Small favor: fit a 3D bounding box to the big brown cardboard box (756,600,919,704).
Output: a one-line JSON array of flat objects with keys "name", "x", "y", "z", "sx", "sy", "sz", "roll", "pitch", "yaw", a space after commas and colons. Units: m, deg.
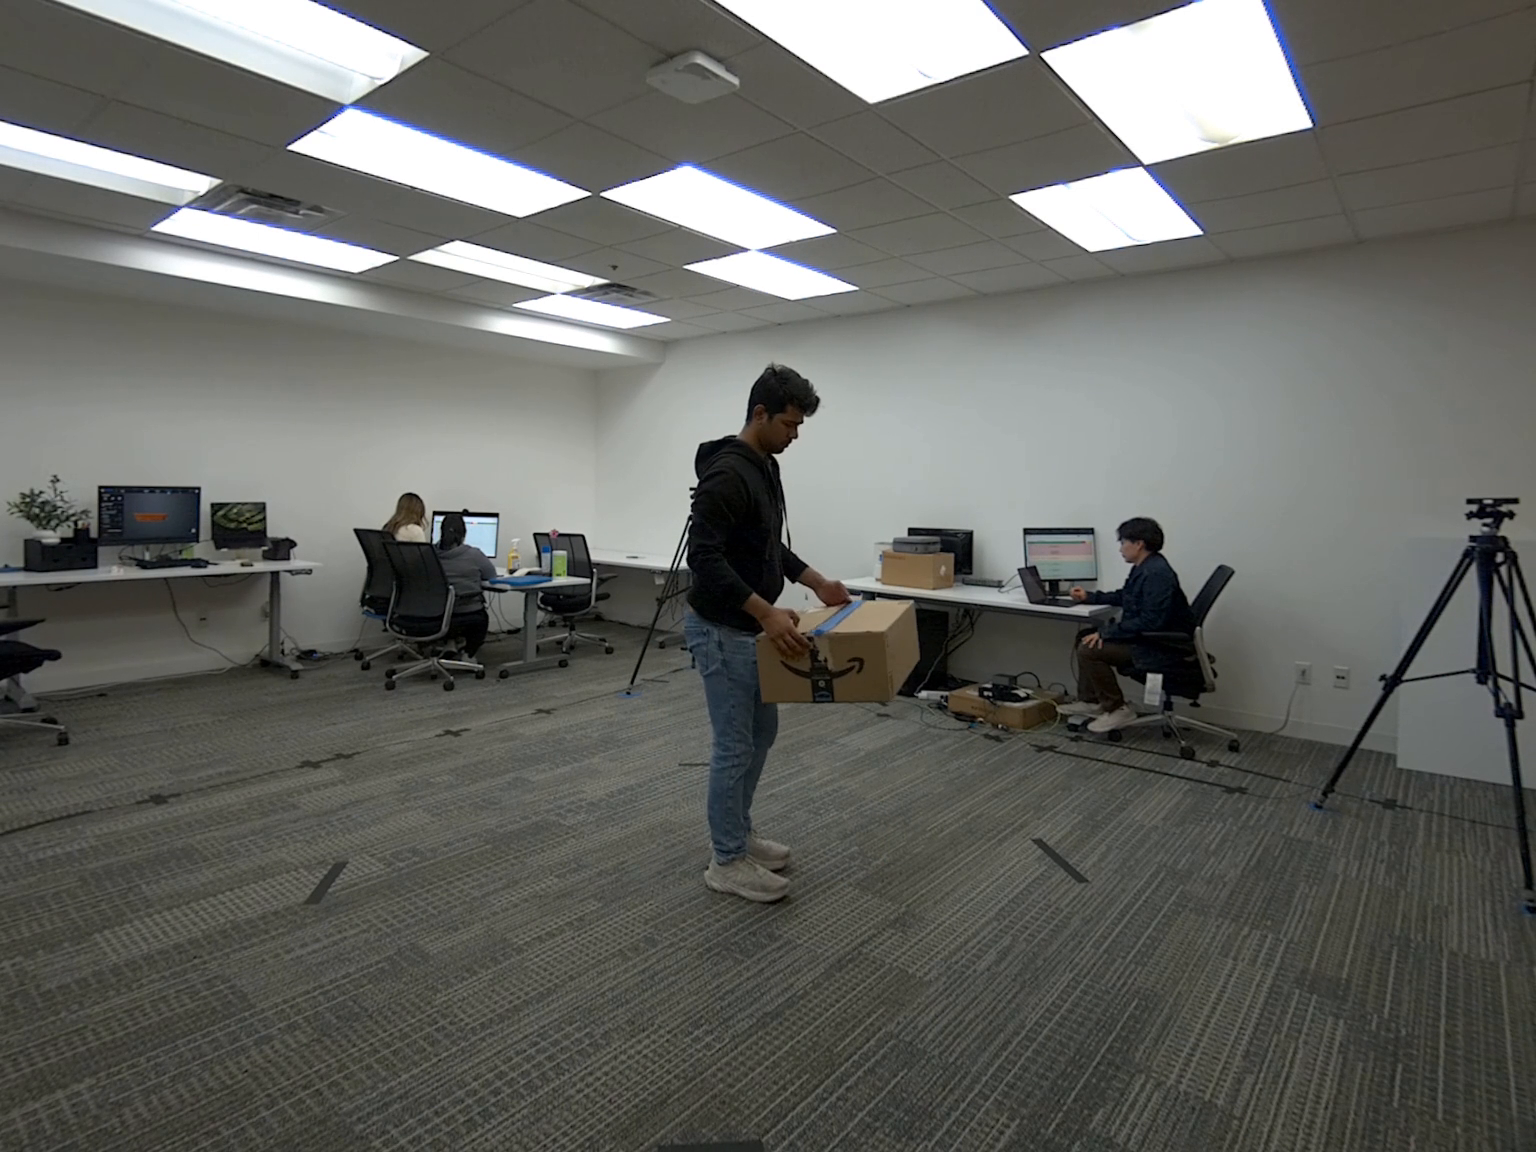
[{"name": "big brown cardboard box", "x": 0.244, "y": 0.249, "z": 2.875, "sx": 0.426, "sy": 0.232, "sz": 0.581, "roll": -5, "pitch": 7, "yaw": 20}]
